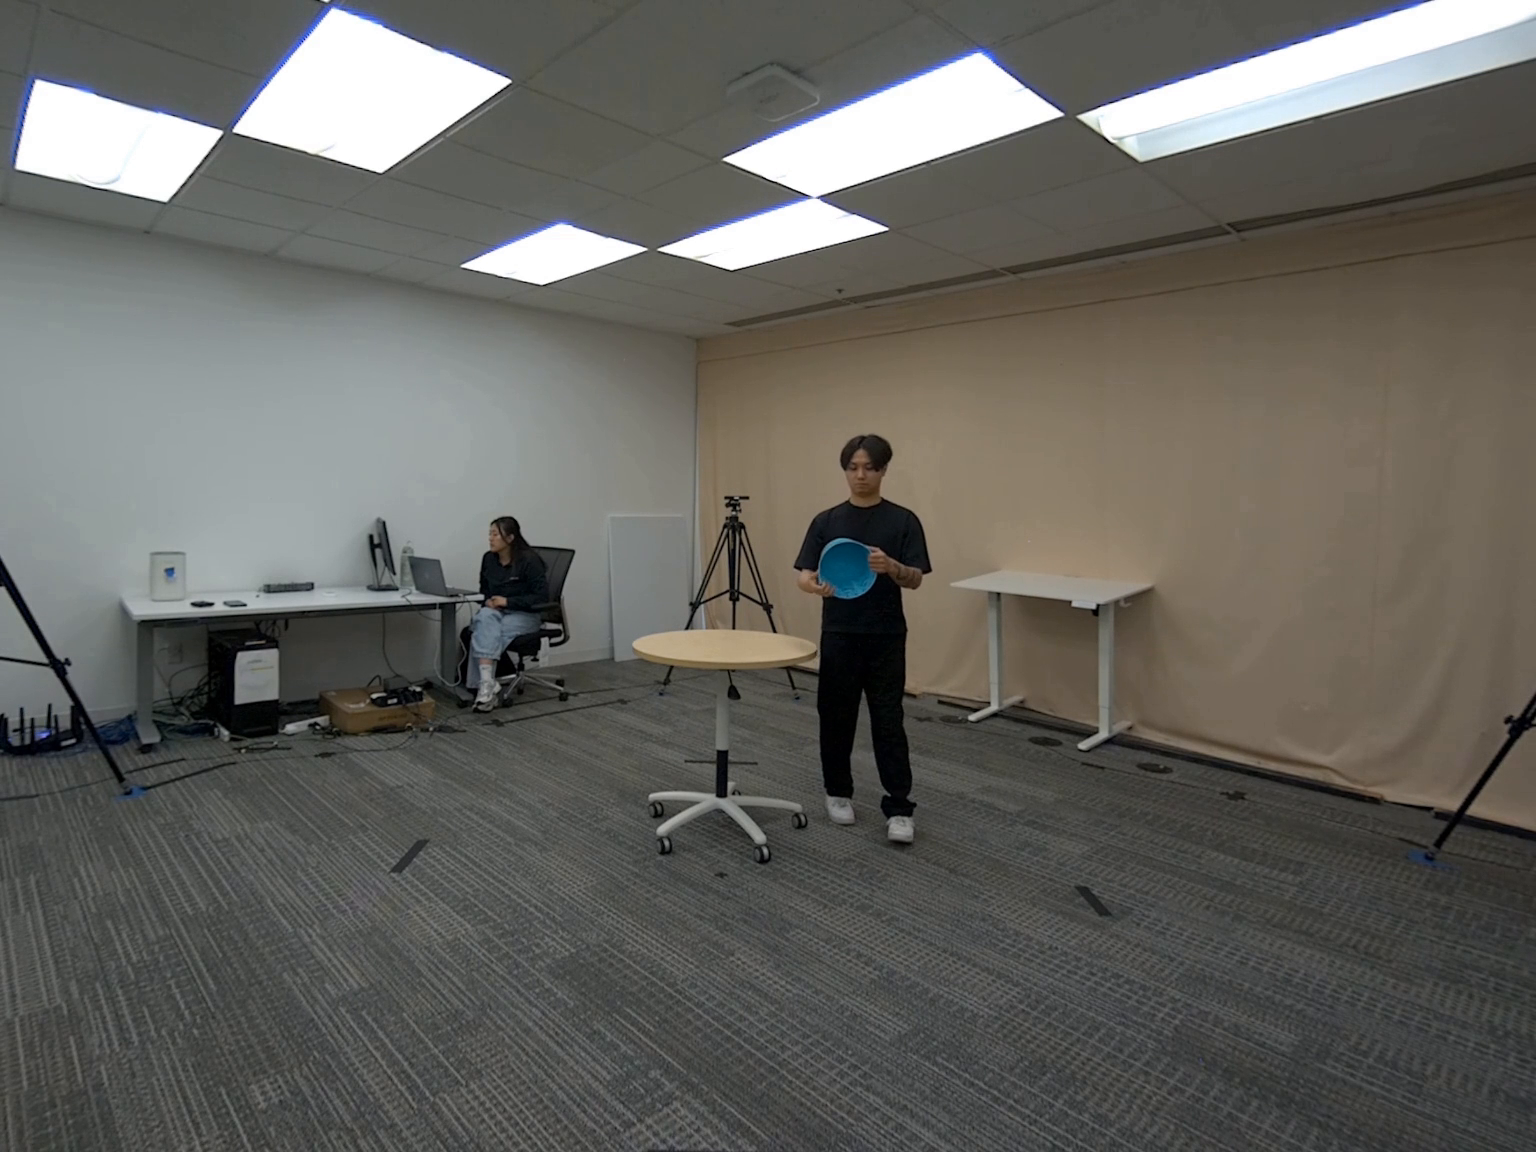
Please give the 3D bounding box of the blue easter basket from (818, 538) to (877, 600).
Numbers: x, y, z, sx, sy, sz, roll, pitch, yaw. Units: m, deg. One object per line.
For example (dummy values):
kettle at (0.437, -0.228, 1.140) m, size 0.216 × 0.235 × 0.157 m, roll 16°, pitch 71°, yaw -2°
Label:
blue easter basket at (0.296, -0.039, 3.367) m, size 0.243 × 0.241 × 0.158 m, roll 1°, pitch 15°, yaw -2°
